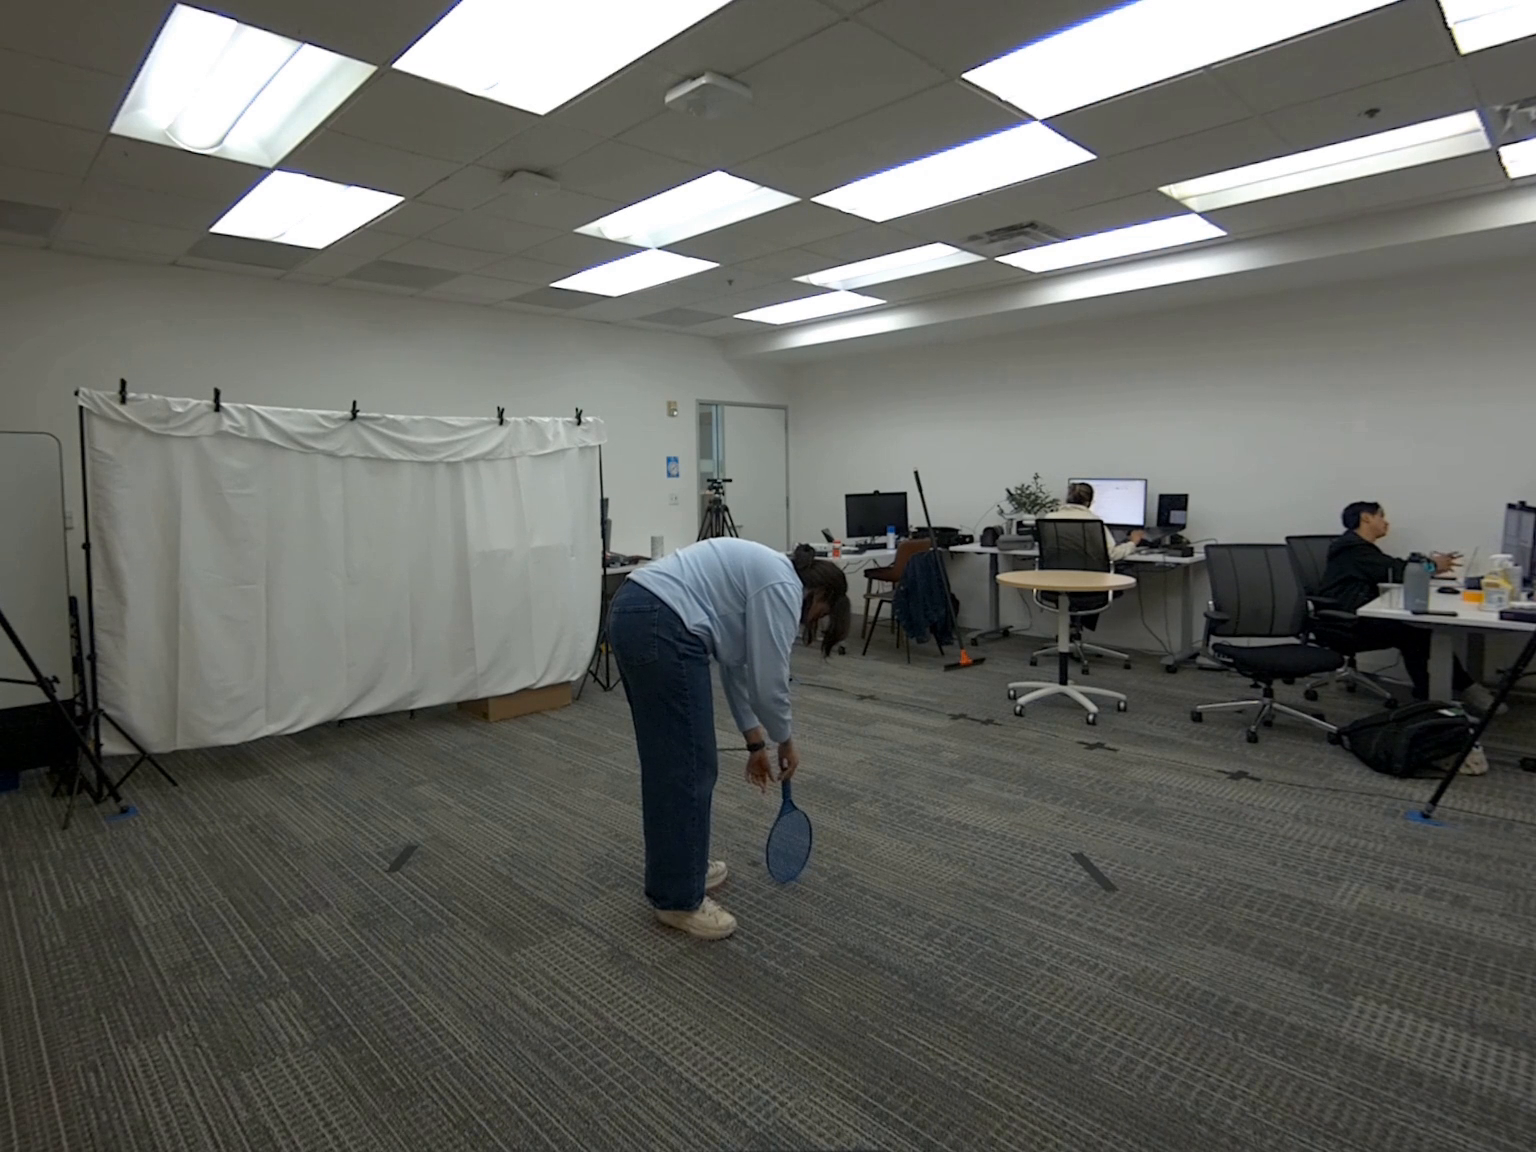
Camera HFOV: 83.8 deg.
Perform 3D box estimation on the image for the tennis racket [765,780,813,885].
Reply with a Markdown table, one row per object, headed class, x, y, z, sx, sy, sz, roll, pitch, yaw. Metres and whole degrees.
| class | x | y | z | sx | sy | sz | roll | pitch | yaw |
| --- | --- | --- | --- | --- | --- | --- | --- | --- | --- |
| tennis racket | 0.071 | 0.854 | 2.924 | 0.210 | 0.426 | 0.033 | -20 | 19 | -40 |
